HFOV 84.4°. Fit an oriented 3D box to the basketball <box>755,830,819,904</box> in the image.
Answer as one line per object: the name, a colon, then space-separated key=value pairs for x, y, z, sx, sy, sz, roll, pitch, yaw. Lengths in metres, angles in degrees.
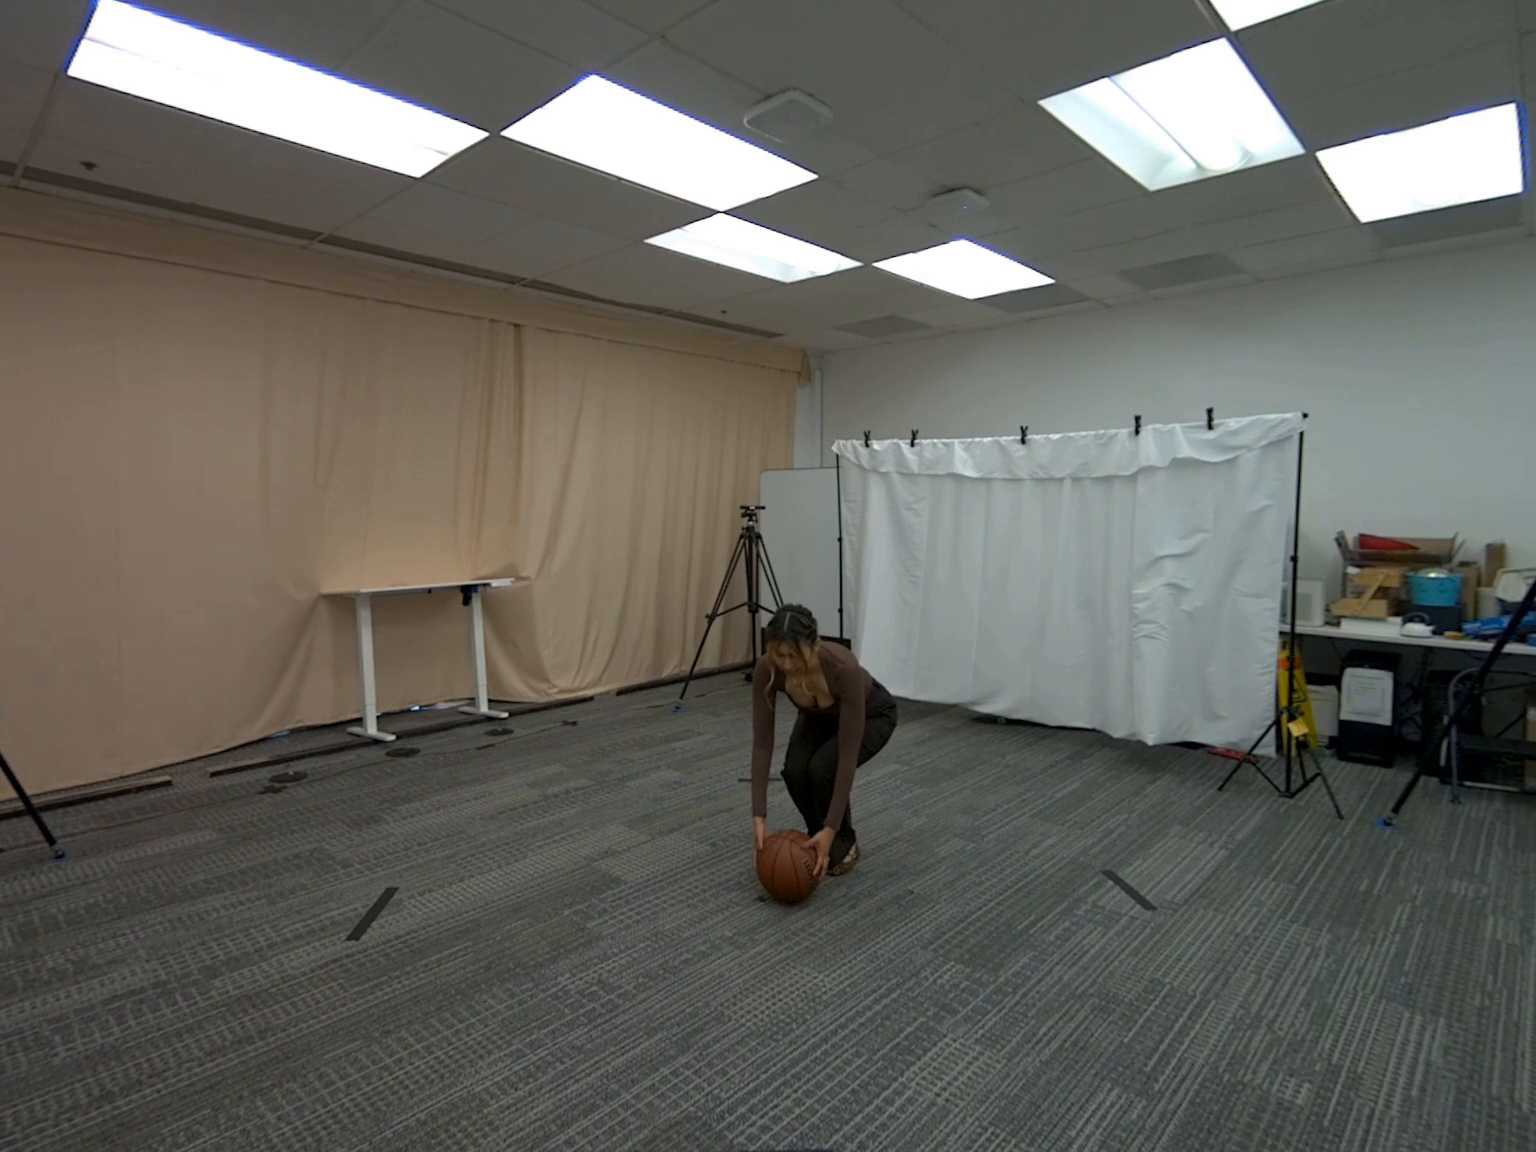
basketball: x=0.078 y=1.004 z=2.976 sx=0.236 sy=0.235 sz=0.237 roll=0 pitch=4 yaw=-2
